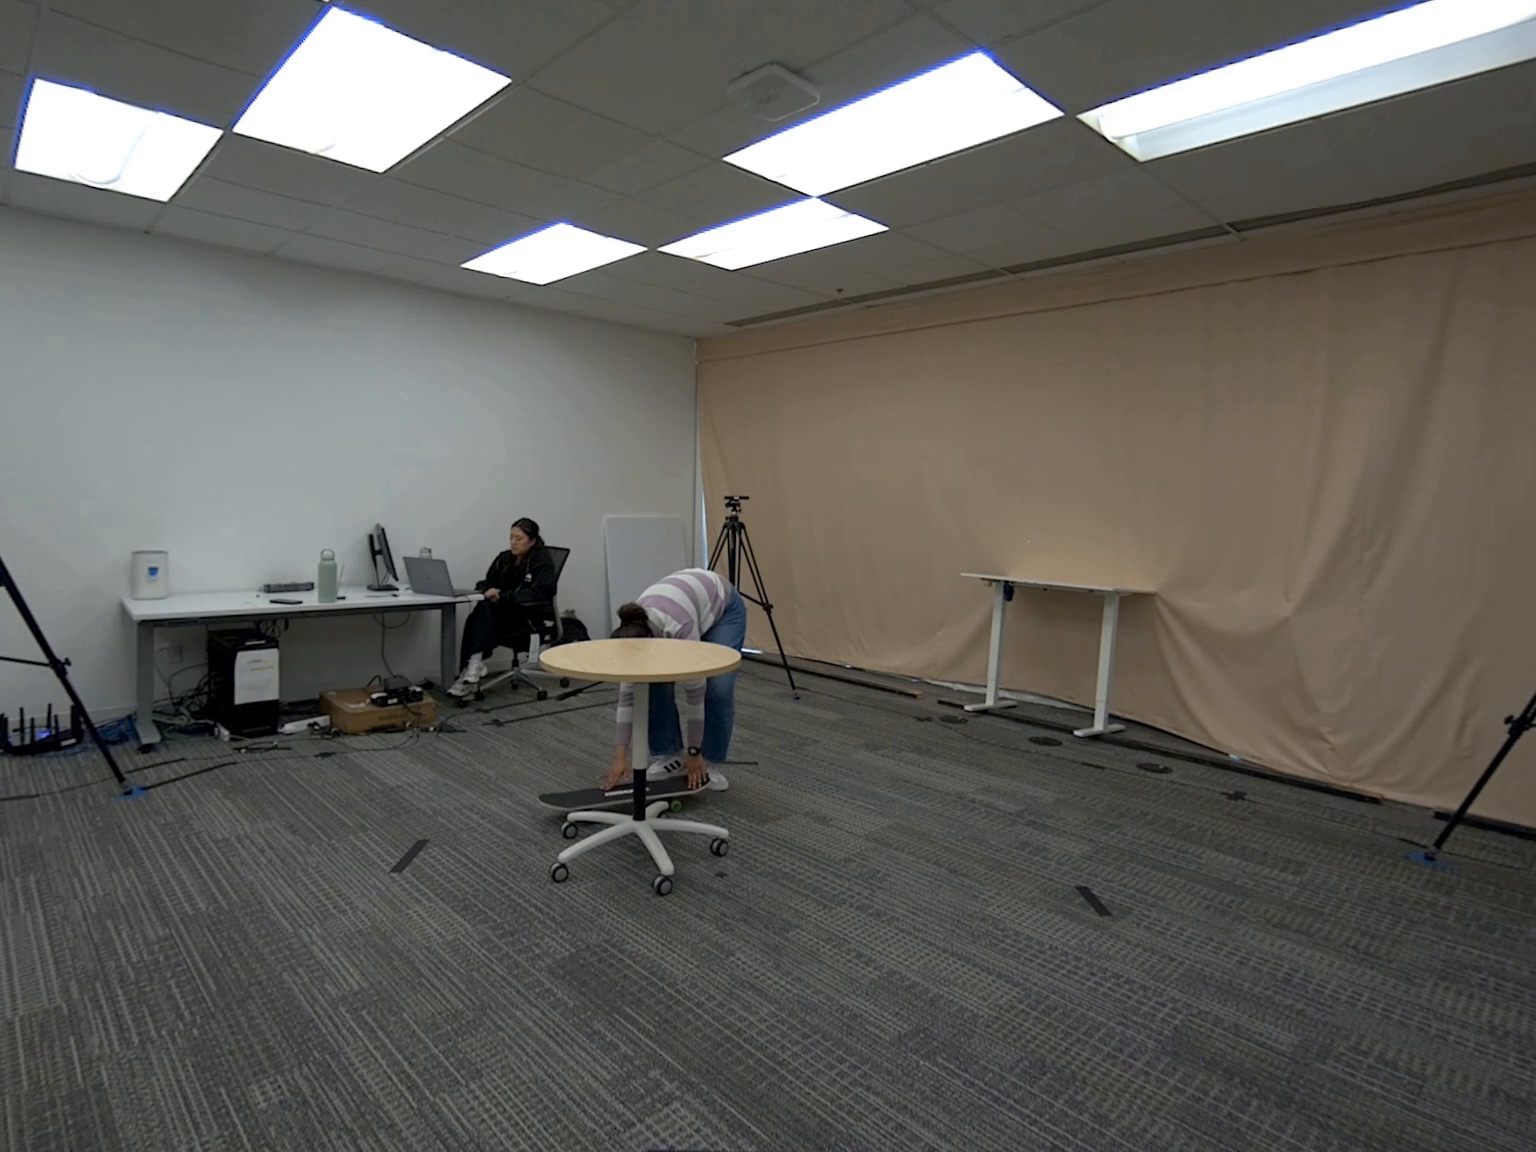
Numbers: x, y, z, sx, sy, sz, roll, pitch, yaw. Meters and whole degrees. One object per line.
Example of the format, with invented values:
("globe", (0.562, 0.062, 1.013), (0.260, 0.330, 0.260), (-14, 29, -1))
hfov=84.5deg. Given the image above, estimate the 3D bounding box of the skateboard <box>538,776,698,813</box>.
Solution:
("skateboard", (-0.626, 0.977, 3.695), (0.770, 0.110, 0.198), (0, 6, -27))
